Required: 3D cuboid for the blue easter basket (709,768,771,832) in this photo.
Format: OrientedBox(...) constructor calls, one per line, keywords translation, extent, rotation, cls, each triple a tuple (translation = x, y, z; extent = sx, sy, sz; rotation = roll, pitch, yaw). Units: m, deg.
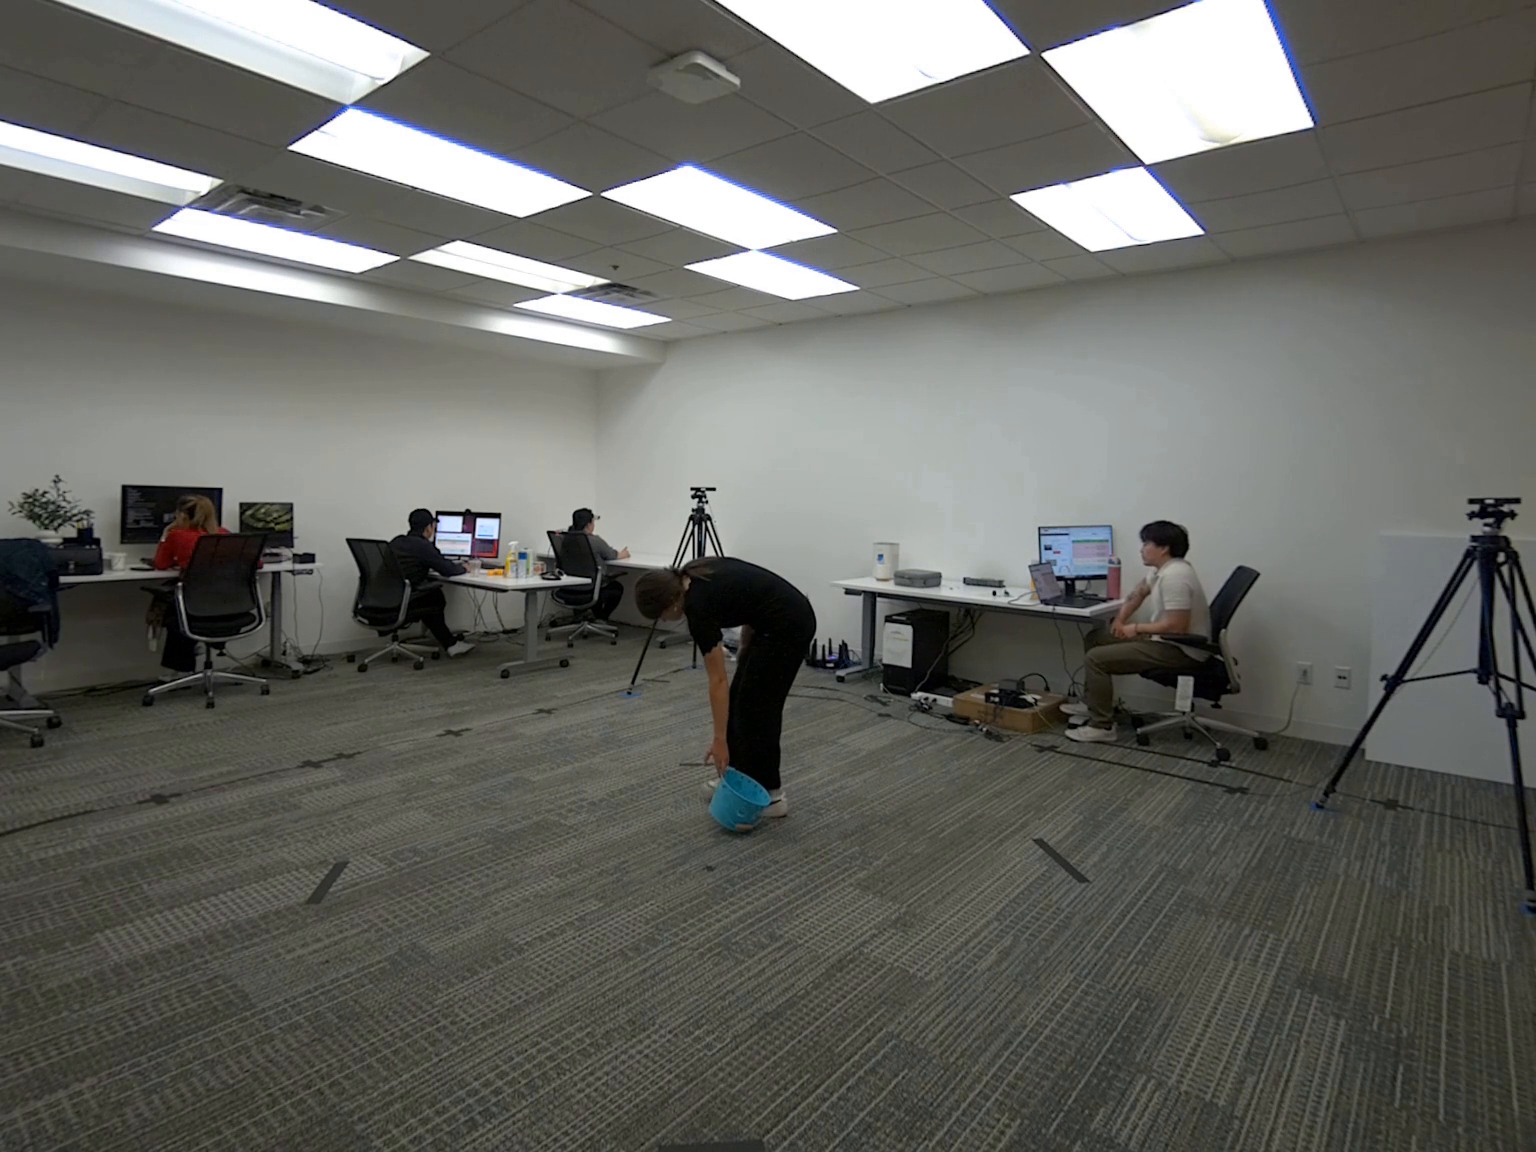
OrientedBox(translation=(-0.124, 0.927, 3.483), extent=(0.242, 0.155, 0.246), rotation=(26, 9, -7), cls="blue easter basket")
